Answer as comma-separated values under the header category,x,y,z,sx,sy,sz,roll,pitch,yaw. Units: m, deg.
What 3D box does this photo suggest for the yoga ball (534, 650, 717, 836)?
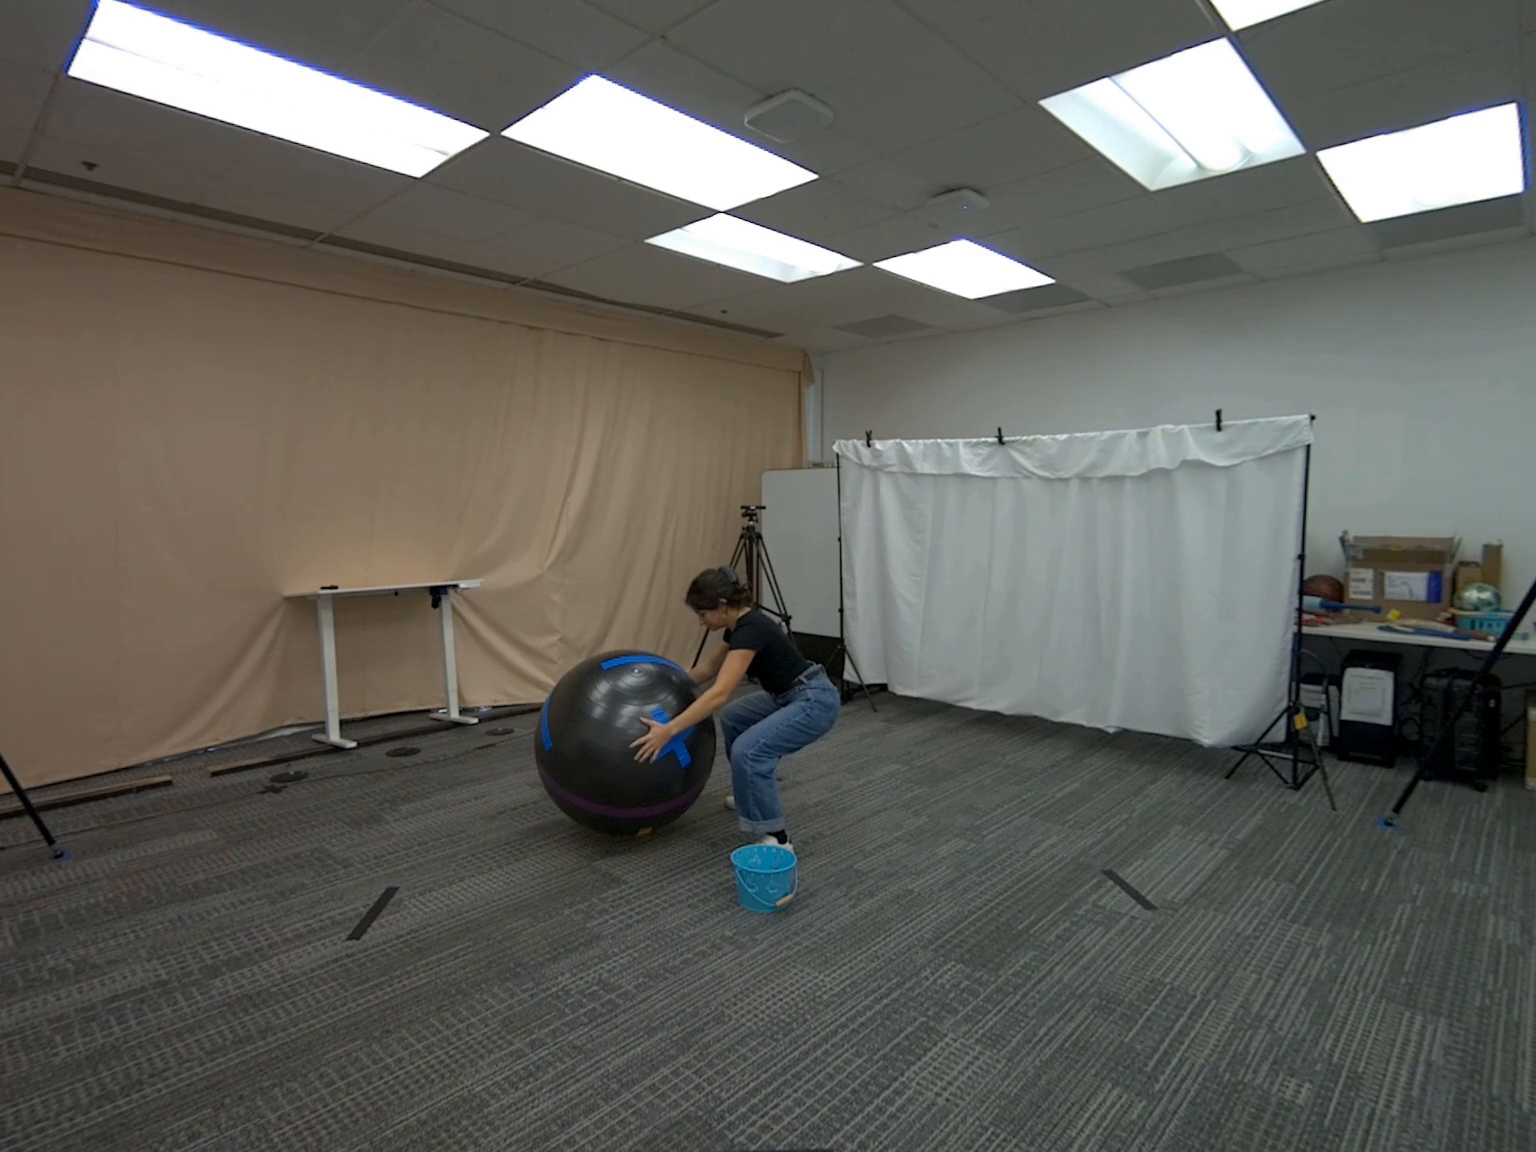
category,x,y,z,sx,sy,sz,roll,pitch,yaw
yoga ball,-0.602,0.701,3.555,0.757,0.756,0.760,0,4,-2
